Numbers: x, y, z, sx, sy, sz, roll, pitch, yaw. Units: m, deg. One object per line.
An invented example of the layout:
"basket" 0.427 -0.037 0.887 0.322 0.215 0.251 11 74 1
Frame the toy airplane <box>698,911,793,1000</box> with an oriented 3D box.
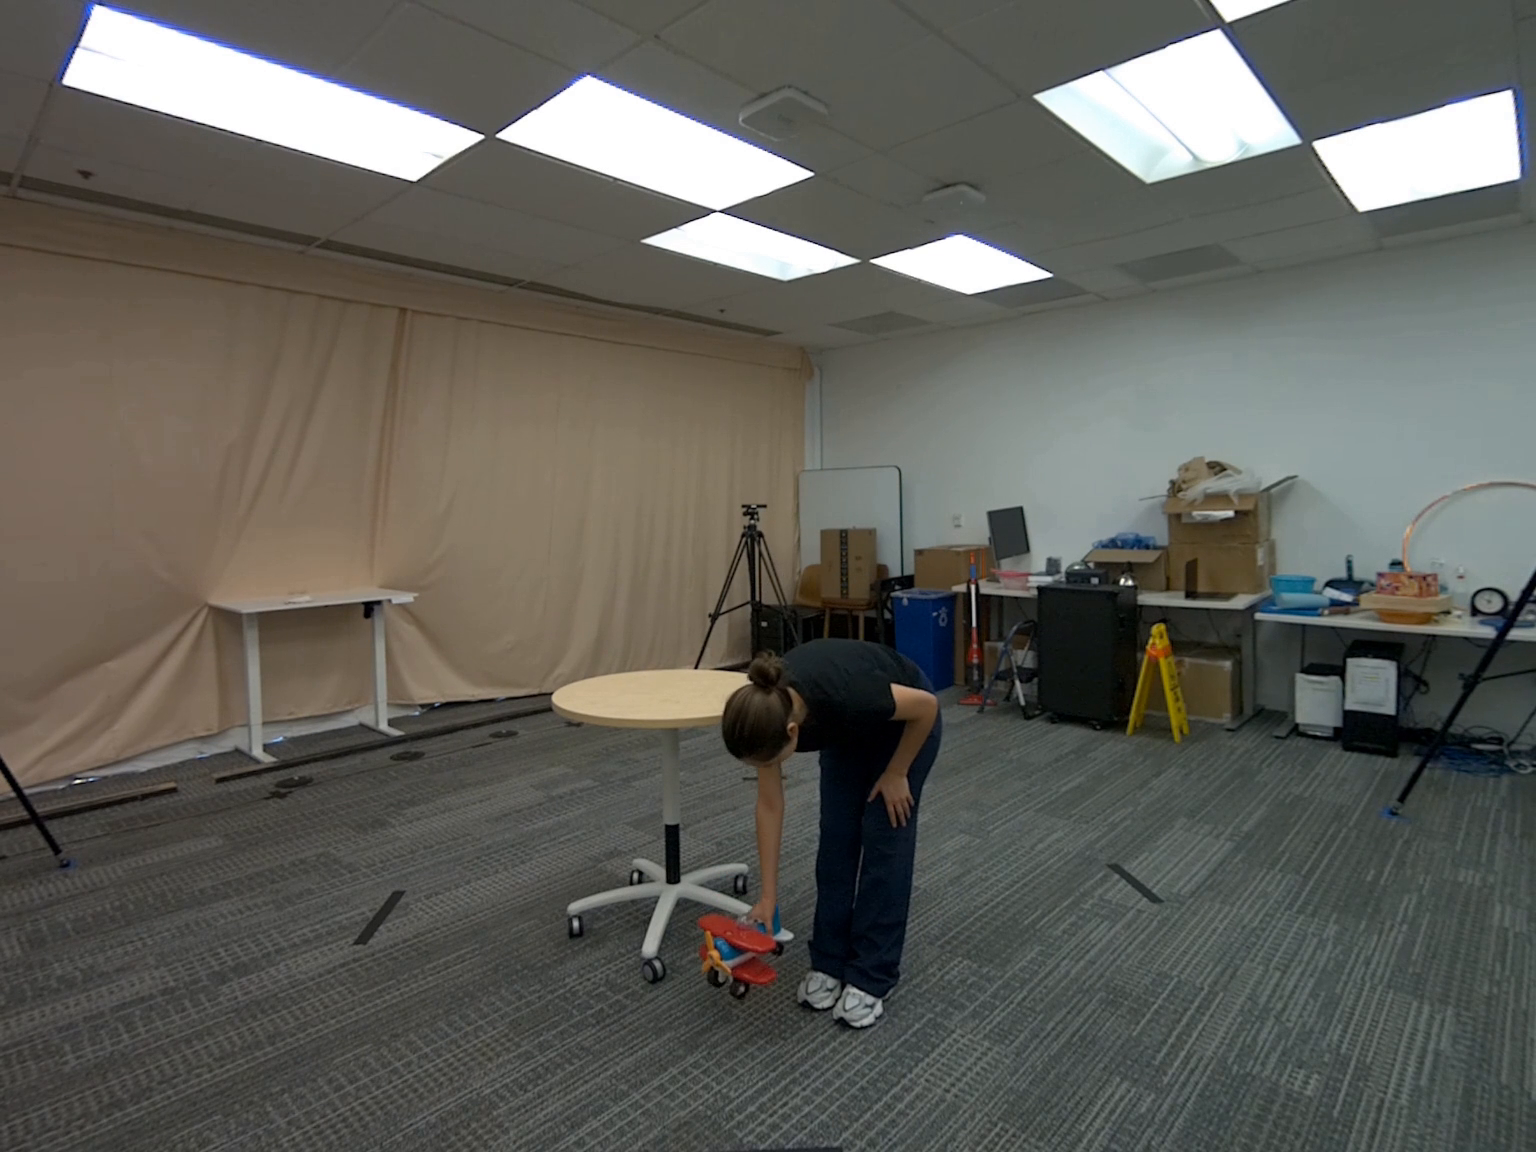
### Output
"toy airplane" -0.046 0.992 2.258 0.256 0.155 0.257 -7 13 18
